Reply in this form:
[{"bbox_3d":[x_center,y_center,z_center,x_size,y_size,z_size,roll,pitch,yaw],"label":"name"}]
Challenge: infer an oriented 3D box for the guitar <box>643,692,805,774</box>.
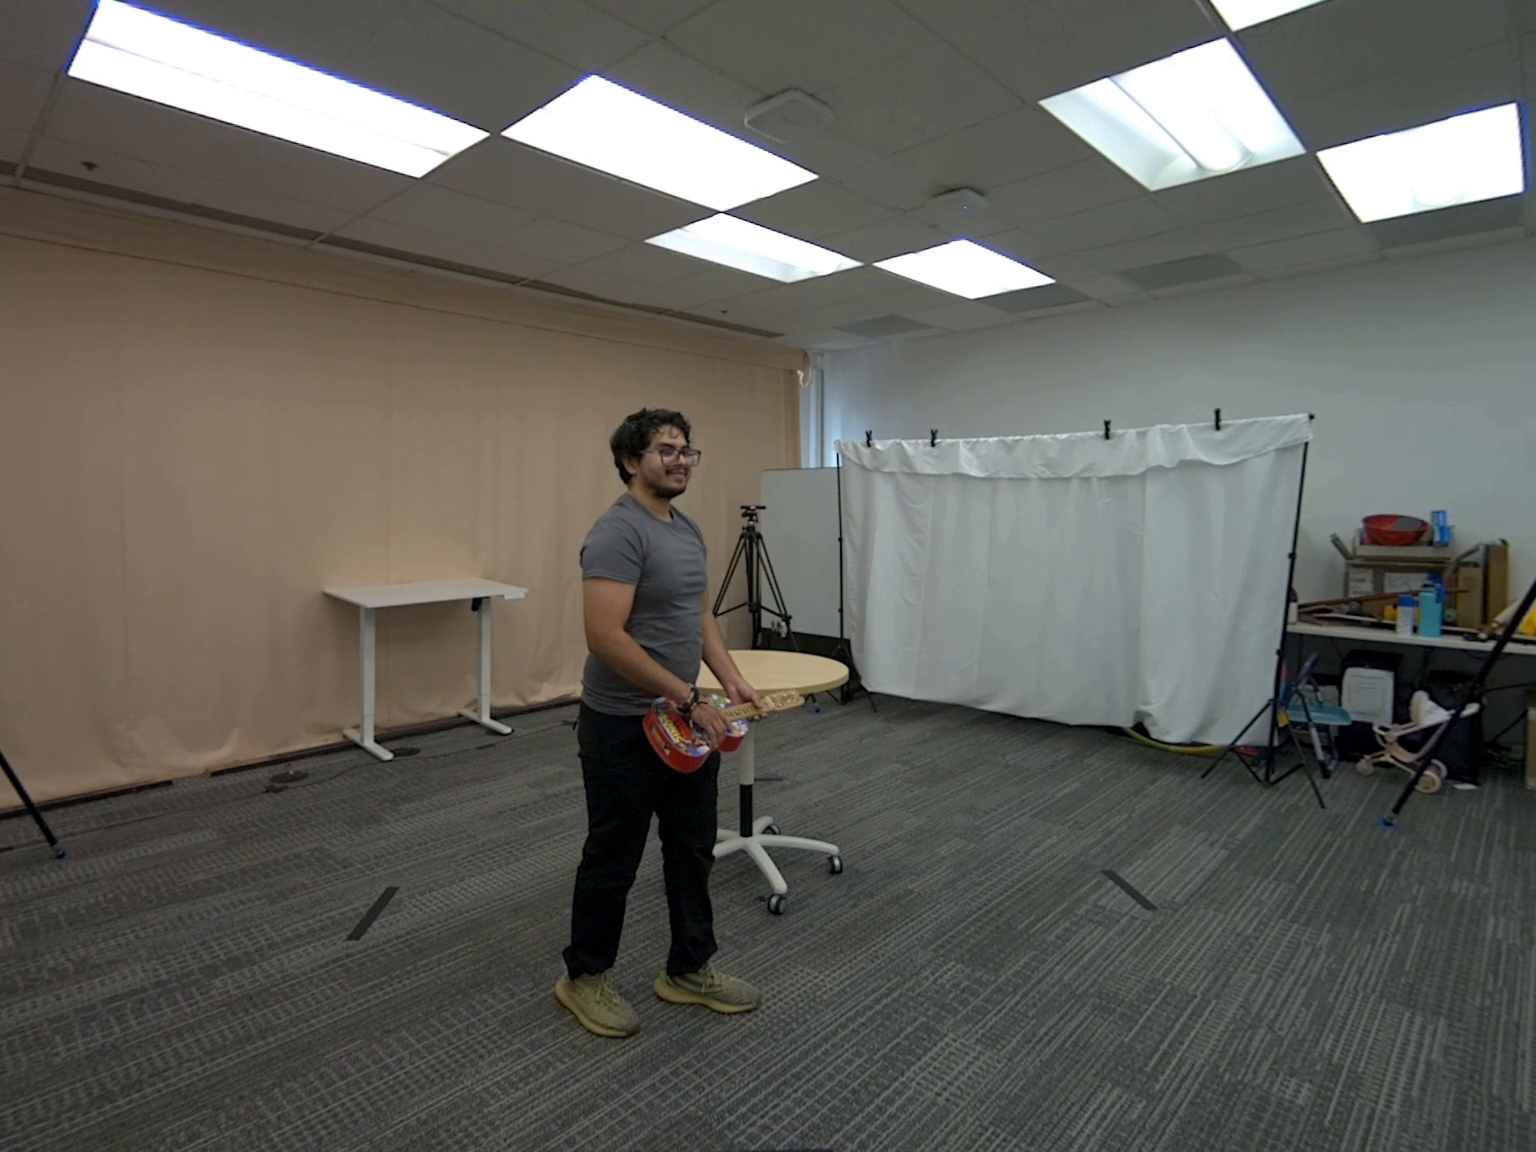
[{"bbox_3d":[-0.073,0.395,2.191,0.483,0.070,0.199,2,40,-35],"label":"guitar"}]
